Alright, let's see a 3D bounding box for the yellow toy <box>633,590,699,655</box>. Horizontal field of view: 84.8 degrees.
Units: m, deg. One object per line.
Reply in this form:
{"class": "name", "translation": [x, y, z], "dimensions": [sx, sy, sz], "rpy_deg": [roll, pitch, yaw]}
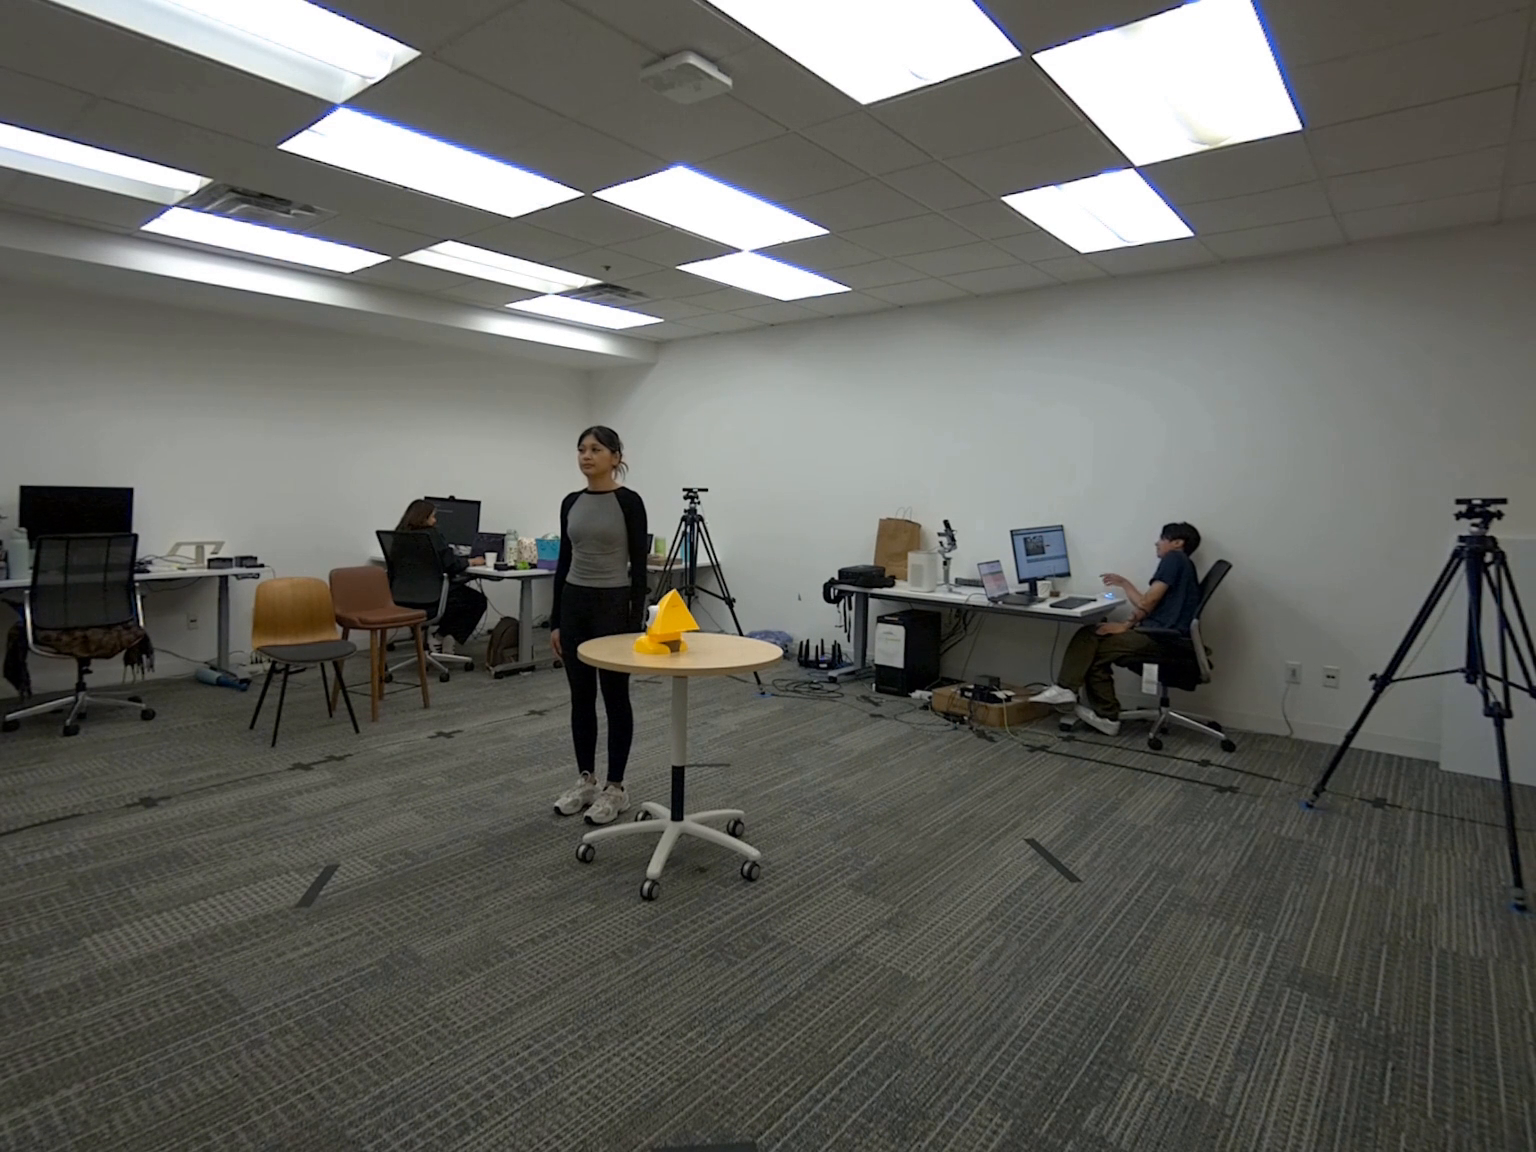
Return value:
{"class": "yellow toy", "translation": [-0.399, 0.155, 3.142], "dimensions": [0.199, 0.230, 0.198], "rpy_deg": [3, 4, 41]}
